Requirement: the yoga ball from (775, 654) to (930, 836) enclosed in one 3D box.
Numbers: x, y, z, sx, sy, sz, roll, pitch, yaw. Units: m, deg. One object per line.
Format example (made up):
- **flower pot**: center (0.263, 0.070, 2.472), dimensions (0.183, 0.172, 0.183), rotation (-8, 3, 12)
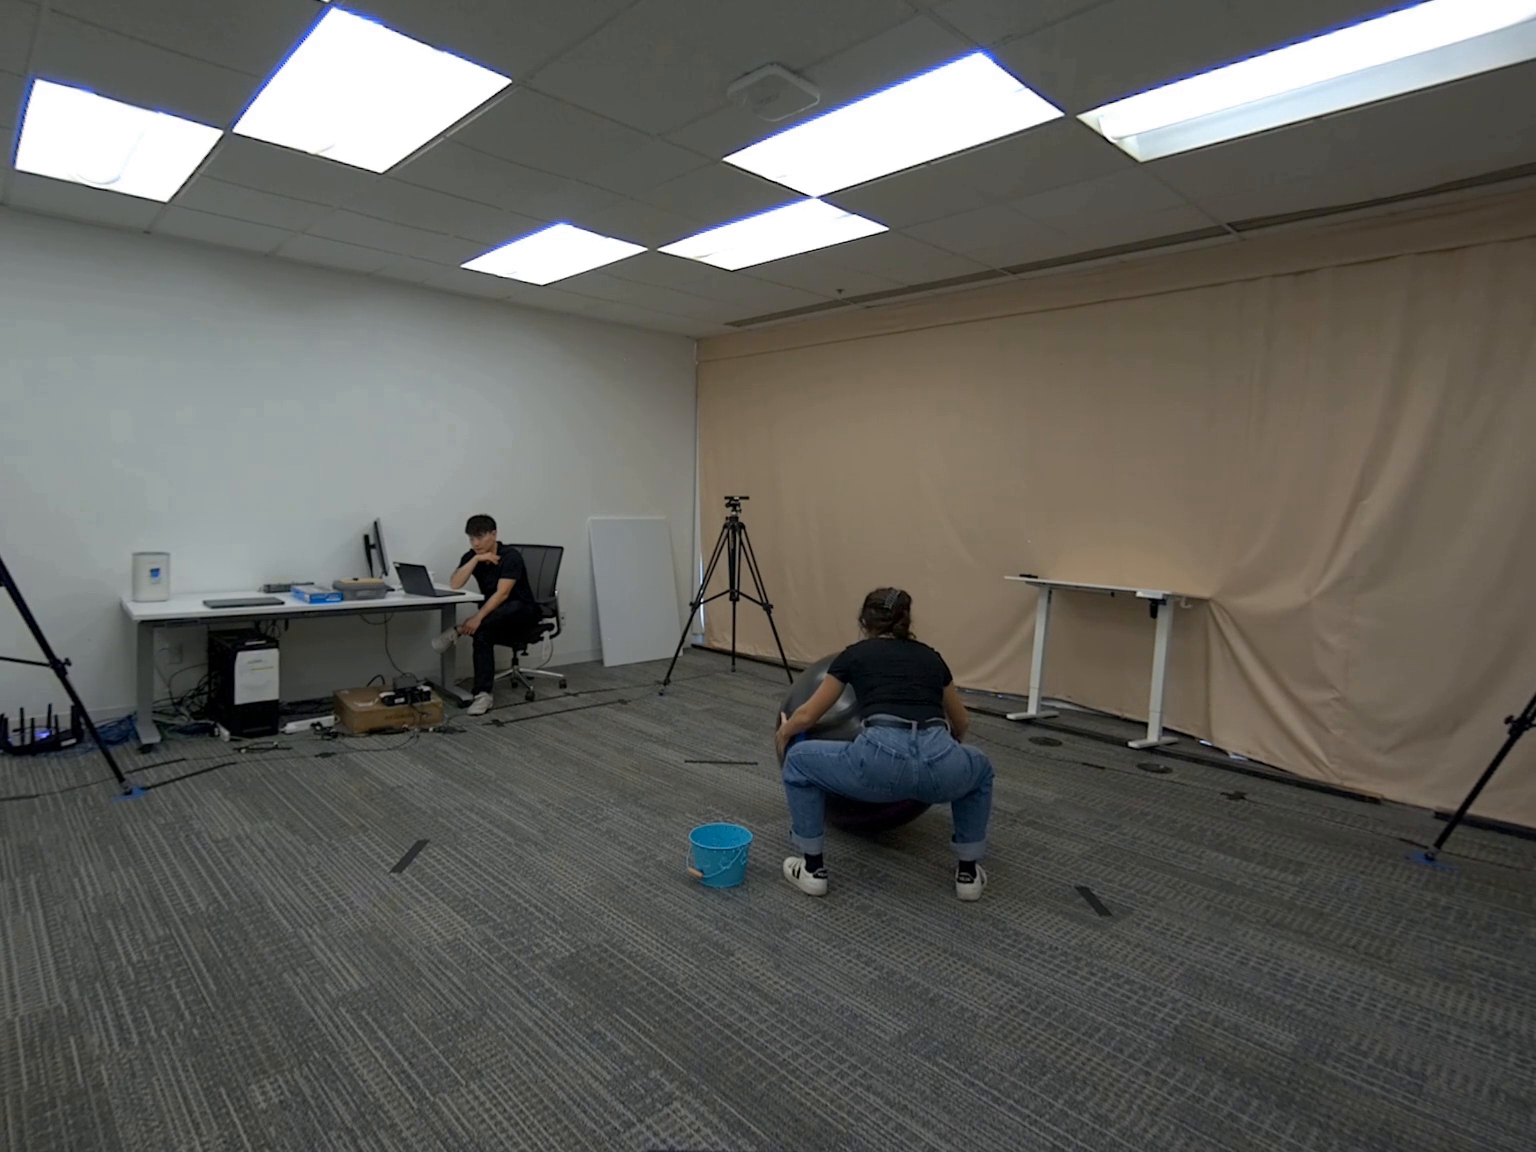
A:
- **yoga ball**: center (0.410, 0.686, 3.581), dimensions (0.757, 0.756, 0.760), rotation (1, 4, -1)
